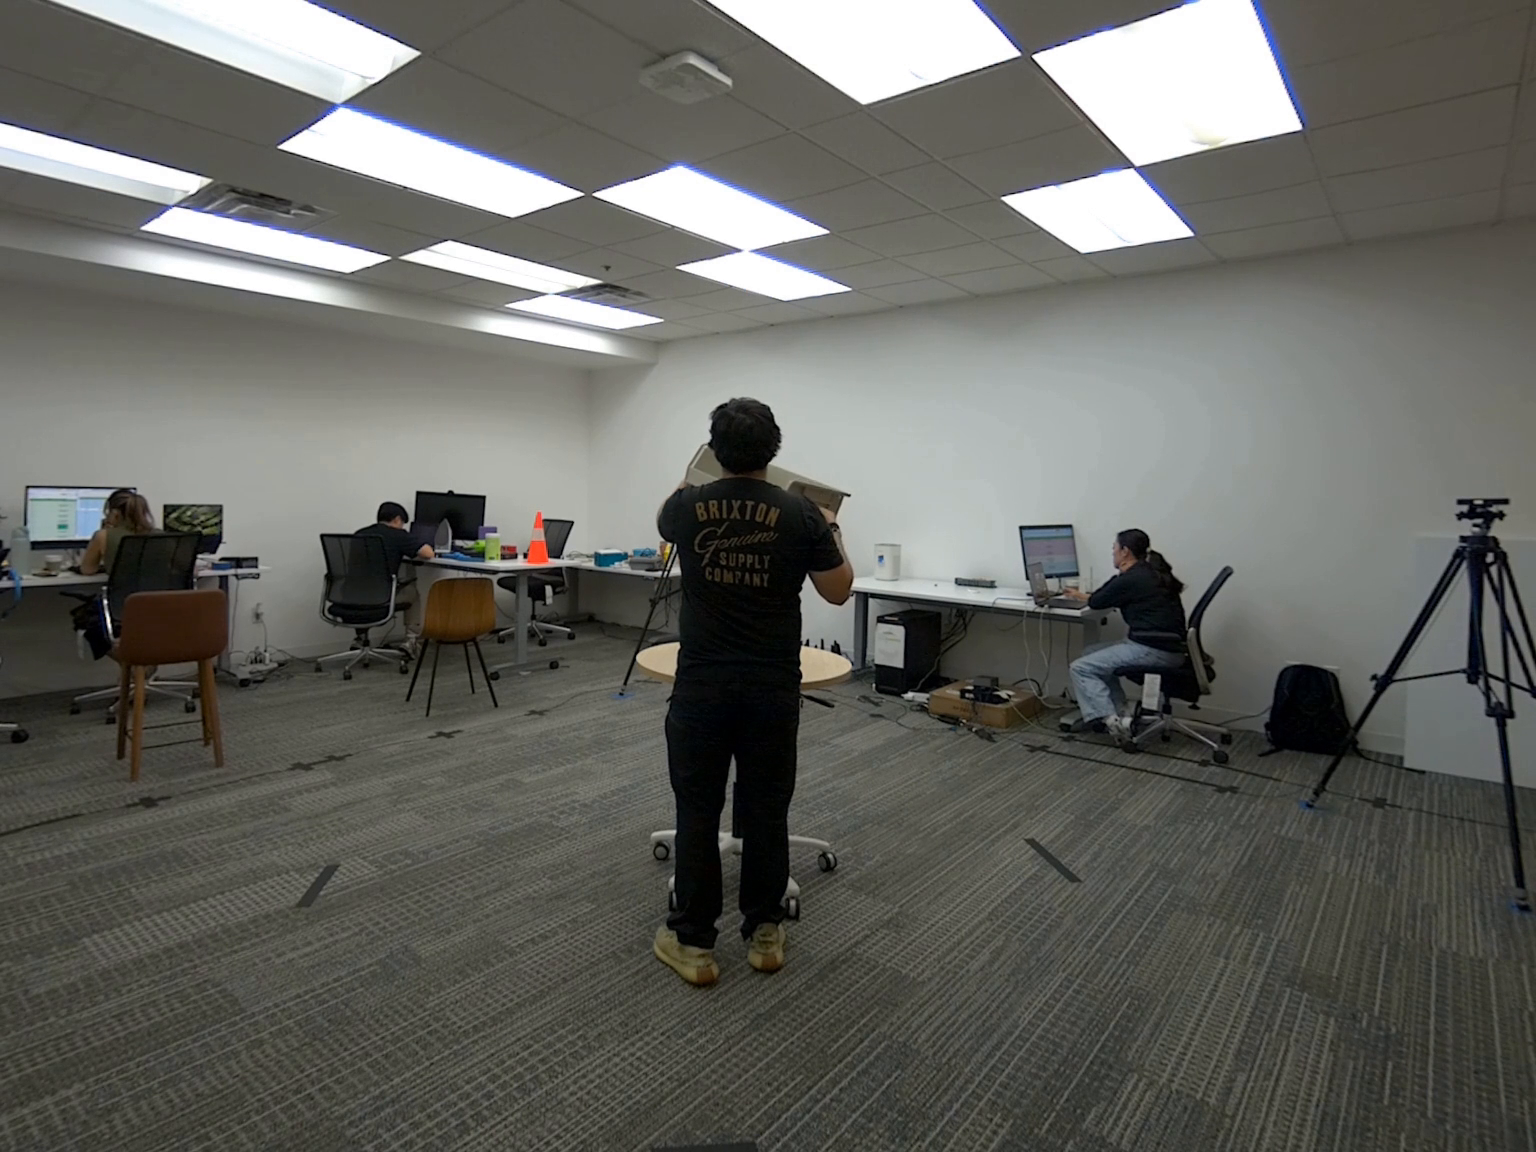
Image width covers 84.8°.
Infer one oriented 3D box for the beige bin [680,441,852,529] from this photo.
[{"bbox_3d":[-0.011,-0.284,2.903,0.439,0.188,0.364,26,11,36],"label":"beige bin"}]
